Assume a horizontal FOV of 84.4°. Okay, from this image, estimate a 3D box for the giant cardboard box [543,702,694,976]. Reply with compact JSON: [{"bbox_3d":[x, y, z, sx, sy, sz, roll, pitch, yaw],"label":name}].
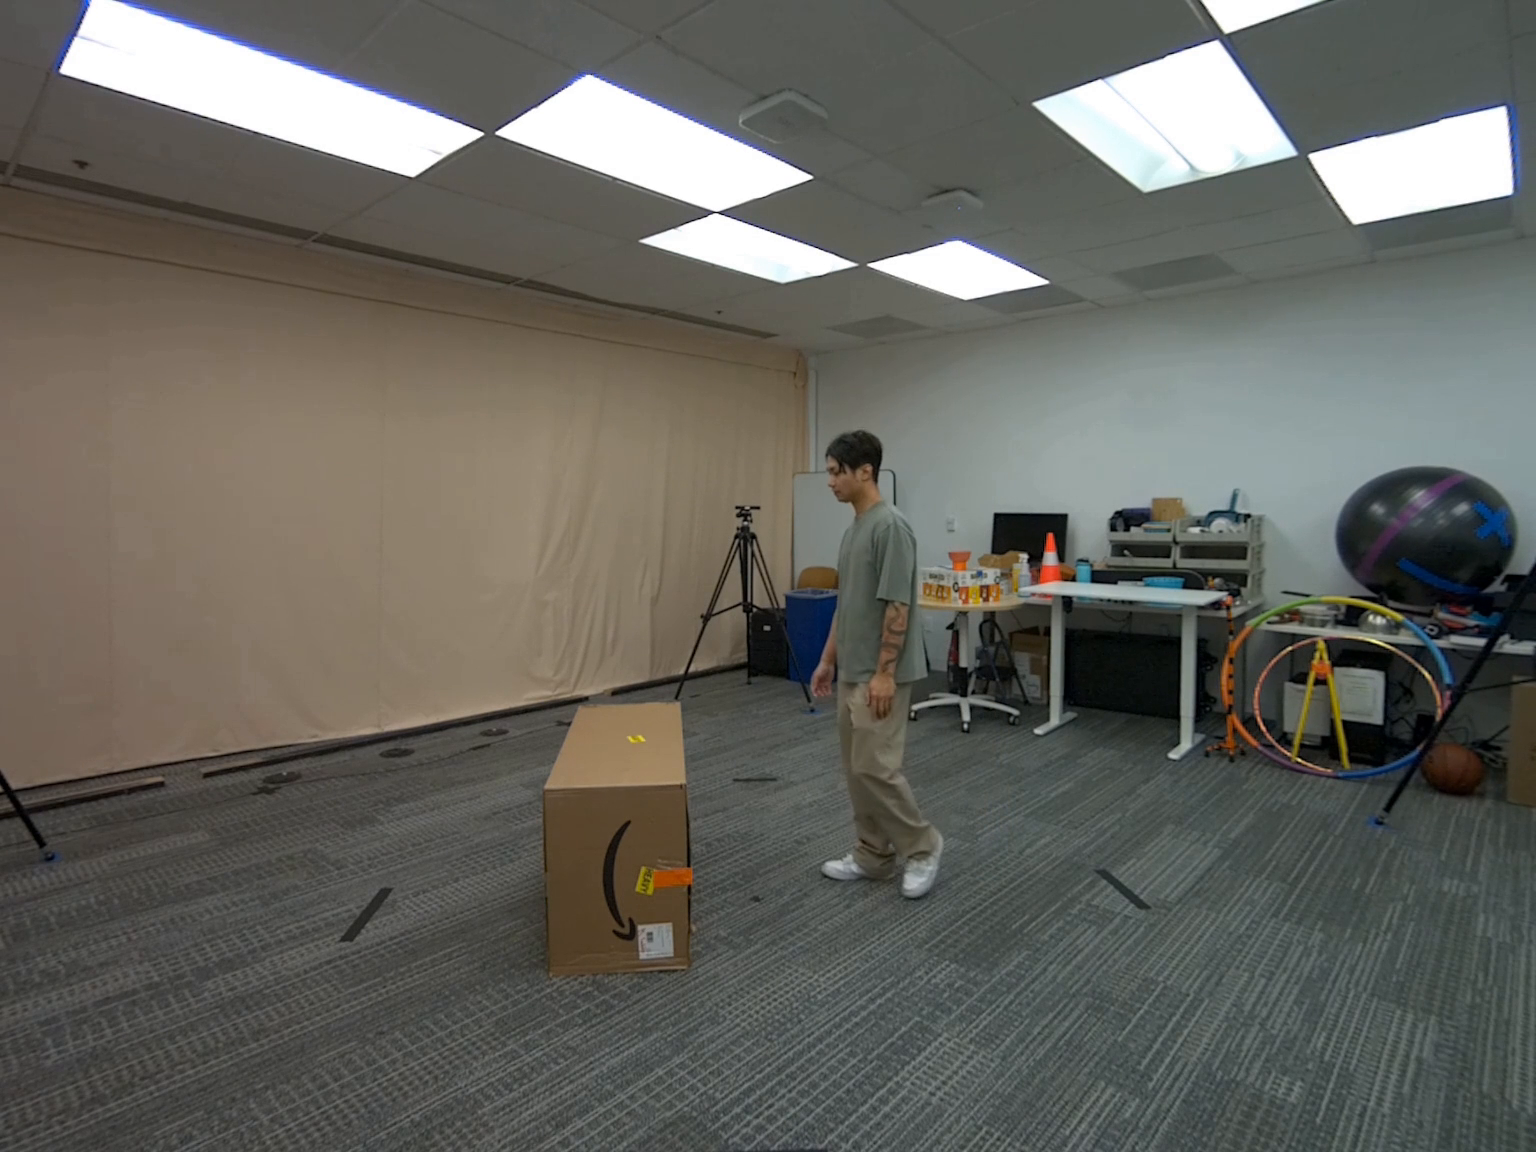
[{"bbox_3d":[-0.503,0.856,3.001,0.424,0.576,1.034,-1,5,-6],"label":"giant cardboard box"}]
